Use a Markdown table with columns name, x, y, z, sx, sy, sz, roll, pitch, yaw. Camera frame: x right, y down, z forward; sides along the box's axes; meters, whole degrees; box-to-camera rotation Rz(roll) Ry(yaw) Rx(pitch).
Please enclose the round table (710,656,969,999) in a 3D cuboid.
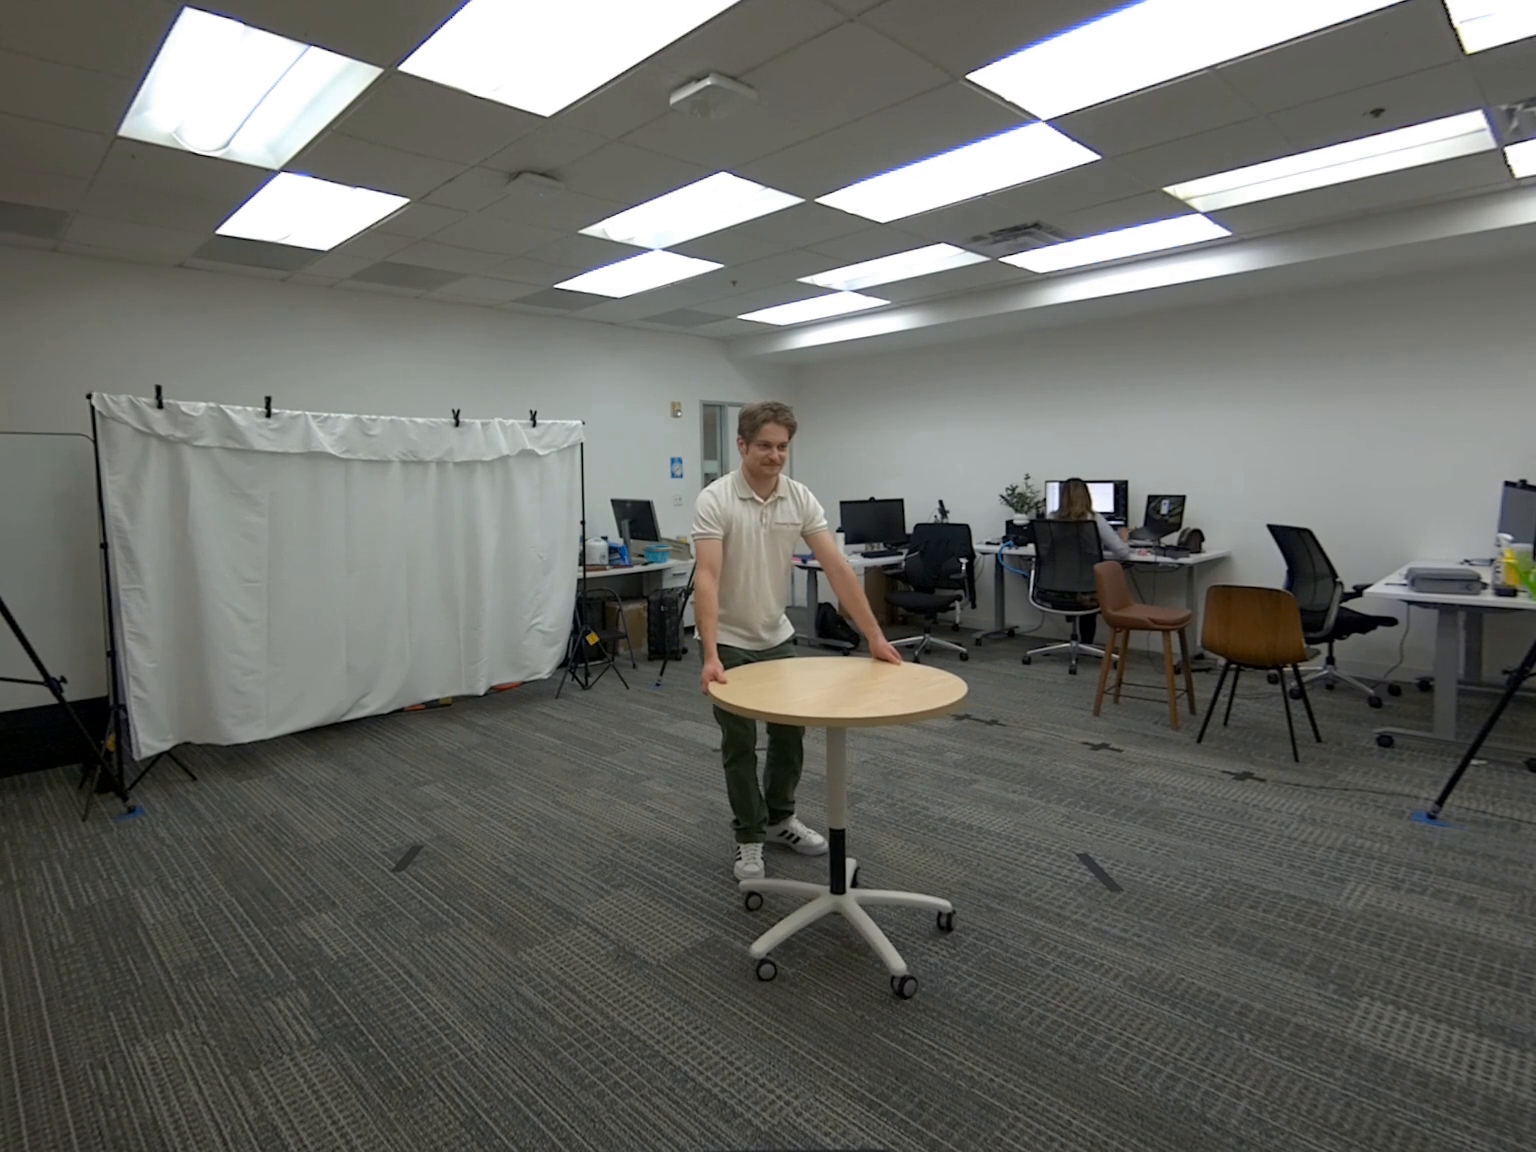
| name | x | y | z | sx | sy | sz | roll | pitch | yaw |
| --- | --- | --- | --- | --- | --- | --- | --- | --- | --- |
| round table | 0.214 | 0.711 | 2.588 | 0.763 | 0.791 | 0.768 | -1 | 5 | -2 |
